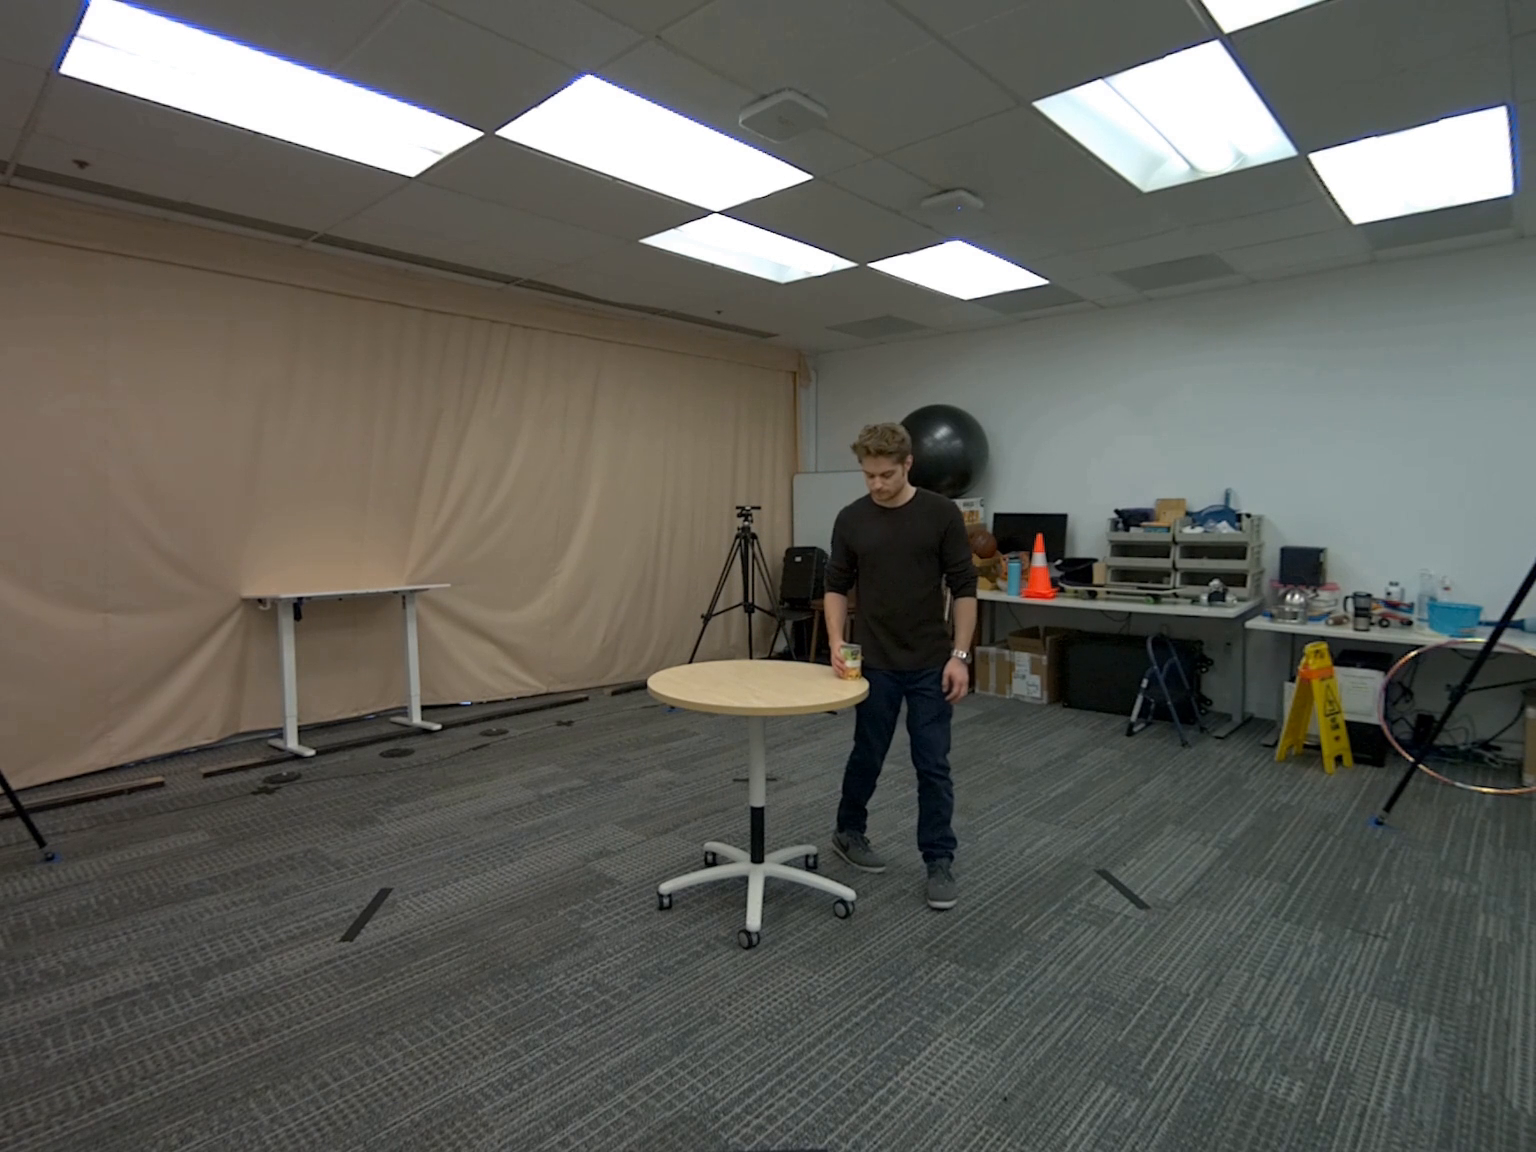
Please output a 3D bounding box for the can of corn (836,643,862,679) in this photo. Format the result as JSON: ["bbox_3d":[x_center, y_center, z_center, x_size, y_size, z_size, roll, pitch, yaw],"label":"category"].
[{"bbox_3d":[0.291,0.304,2.986,0.074,0.111,0.074,0,5,-2],"label":"can of corn"}]
